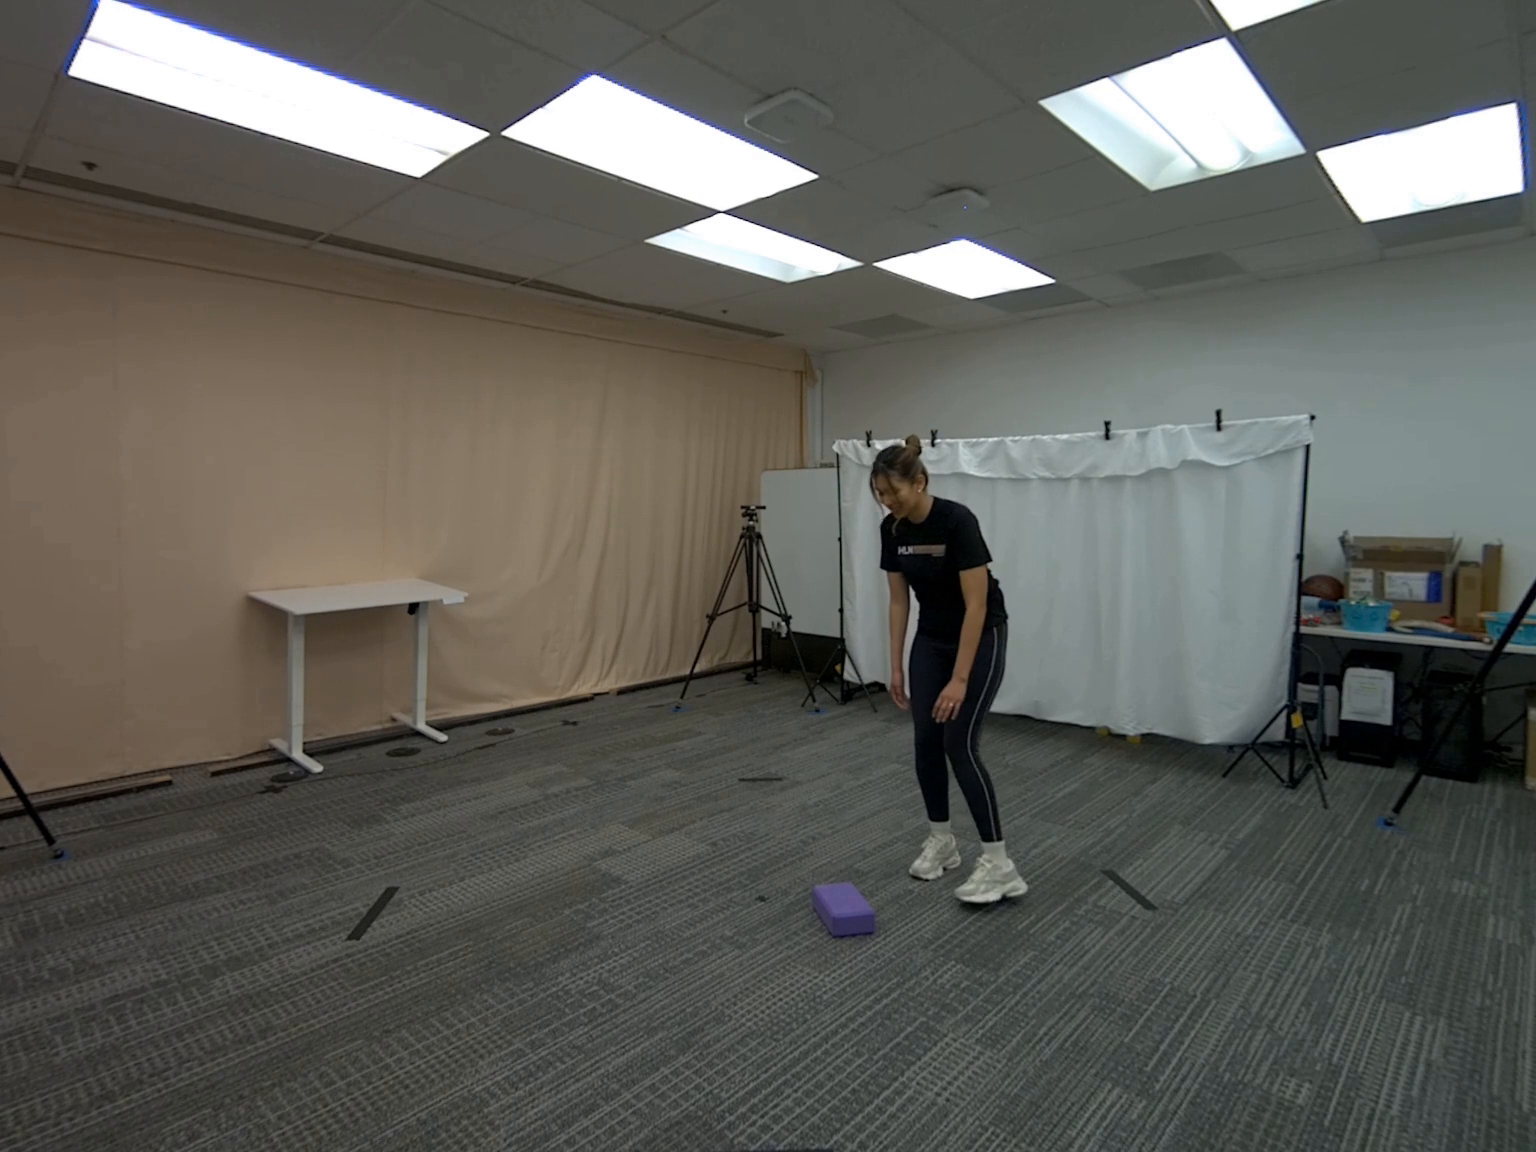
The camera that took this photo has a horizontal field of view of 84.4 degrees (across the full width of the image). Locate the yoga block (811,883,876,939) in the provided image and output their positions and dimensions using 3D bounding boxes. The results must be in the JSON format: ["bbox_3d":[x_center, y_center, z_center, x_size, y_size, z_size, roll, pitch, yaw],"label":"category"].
[{"bbox_3d":[0.253,1.118,2.826,0.147,0.076,0.233,-2,5,-13],"label":"yoga block"}]
